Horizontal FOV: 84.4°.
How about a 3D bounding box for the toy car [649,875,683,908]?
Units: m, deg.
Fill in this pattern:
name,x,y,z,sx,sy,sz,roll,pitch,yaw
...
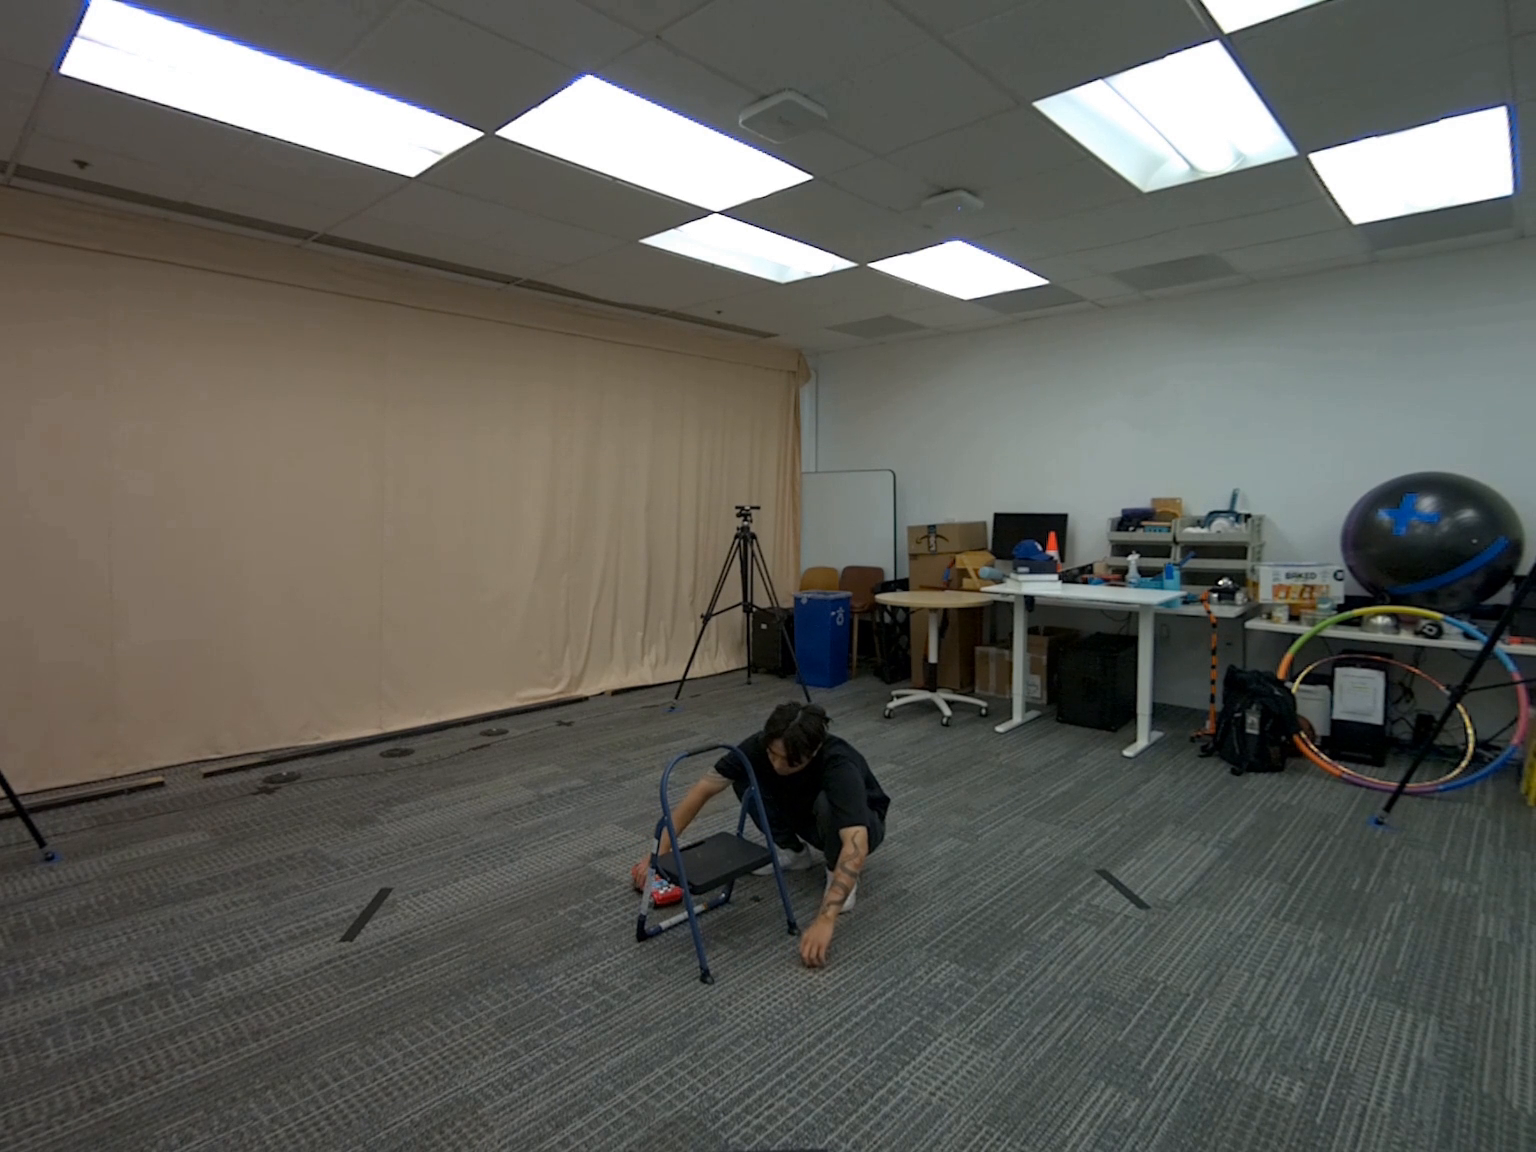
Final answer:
name,x,y,z,sx,sy,sz,roll,pitch,yaw
toy car,-0.399,1.118,3.025,0.127,0.083,0.263,-2,12,-30
